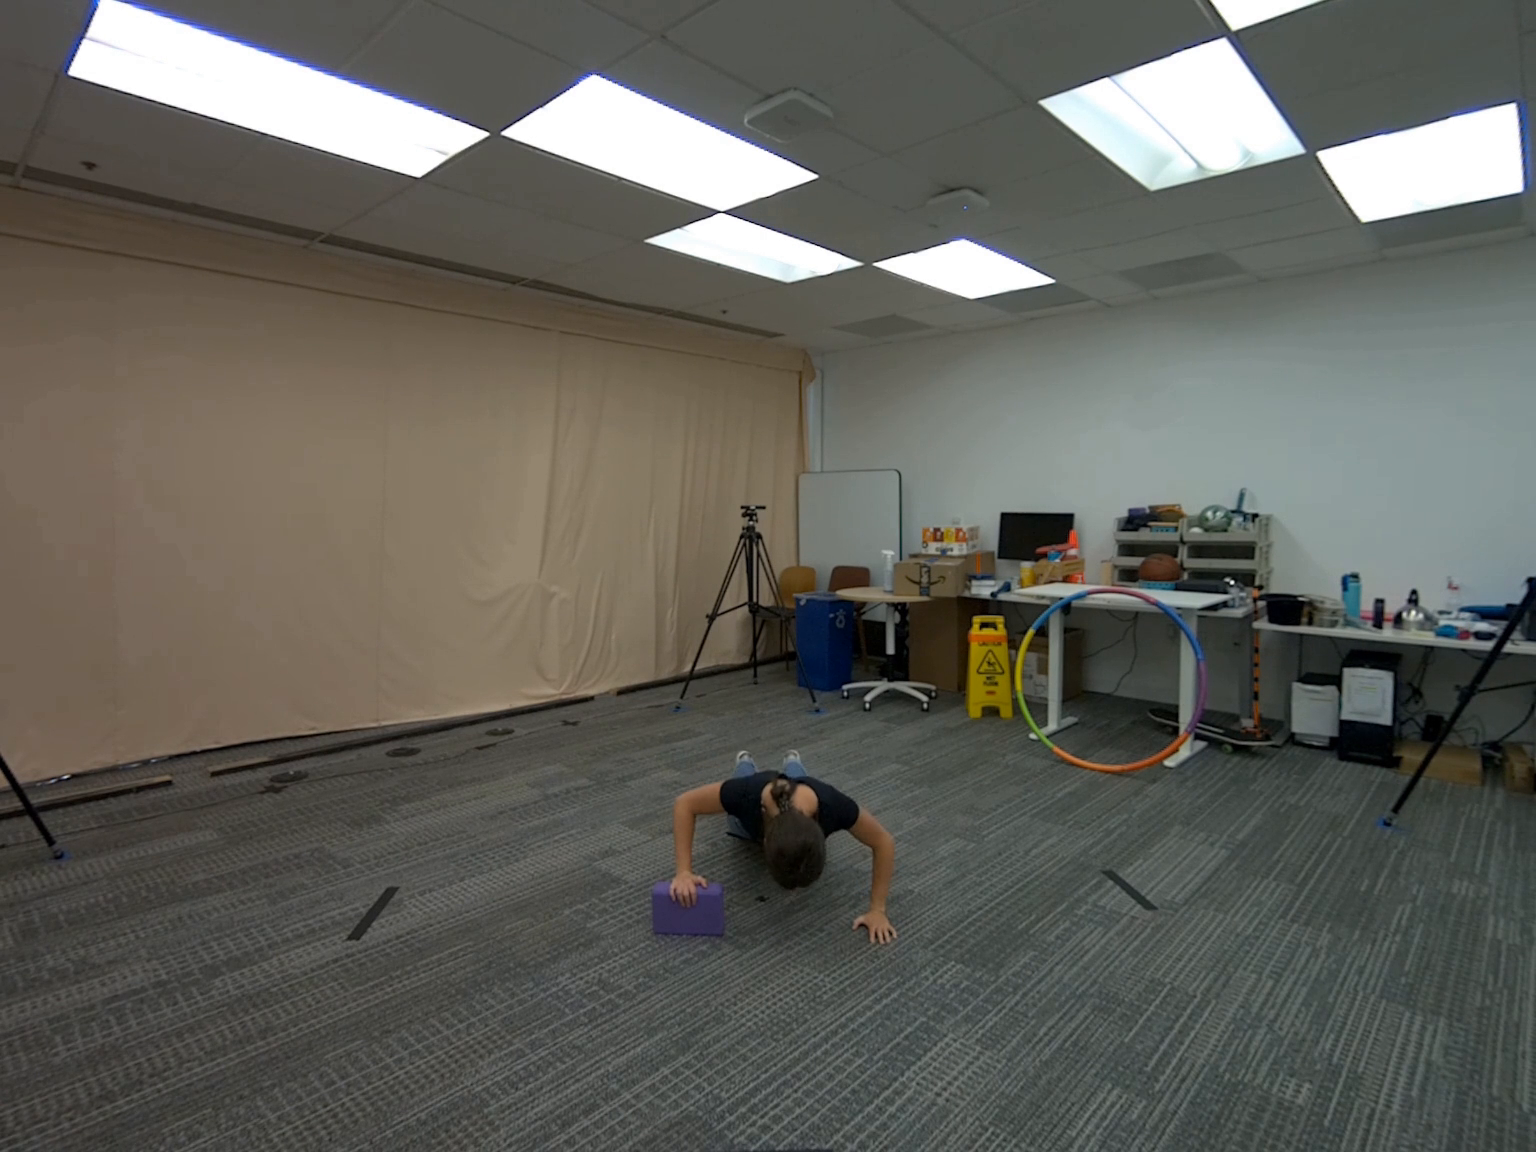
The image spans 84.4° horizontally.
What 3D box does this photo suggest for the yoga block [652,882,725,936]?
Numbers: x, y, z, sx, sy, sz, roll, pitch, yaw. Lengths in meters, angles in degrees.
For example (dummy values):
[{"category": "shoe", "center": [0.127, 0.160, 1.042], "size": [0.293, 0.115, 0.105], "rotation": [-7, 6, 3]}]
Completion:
[{"category": "yoga block", "center": [-0.253, 1.096, 2.762], "size": [0.230, 0.149, 0.076], "rotation": [2, 2, 5]}]
